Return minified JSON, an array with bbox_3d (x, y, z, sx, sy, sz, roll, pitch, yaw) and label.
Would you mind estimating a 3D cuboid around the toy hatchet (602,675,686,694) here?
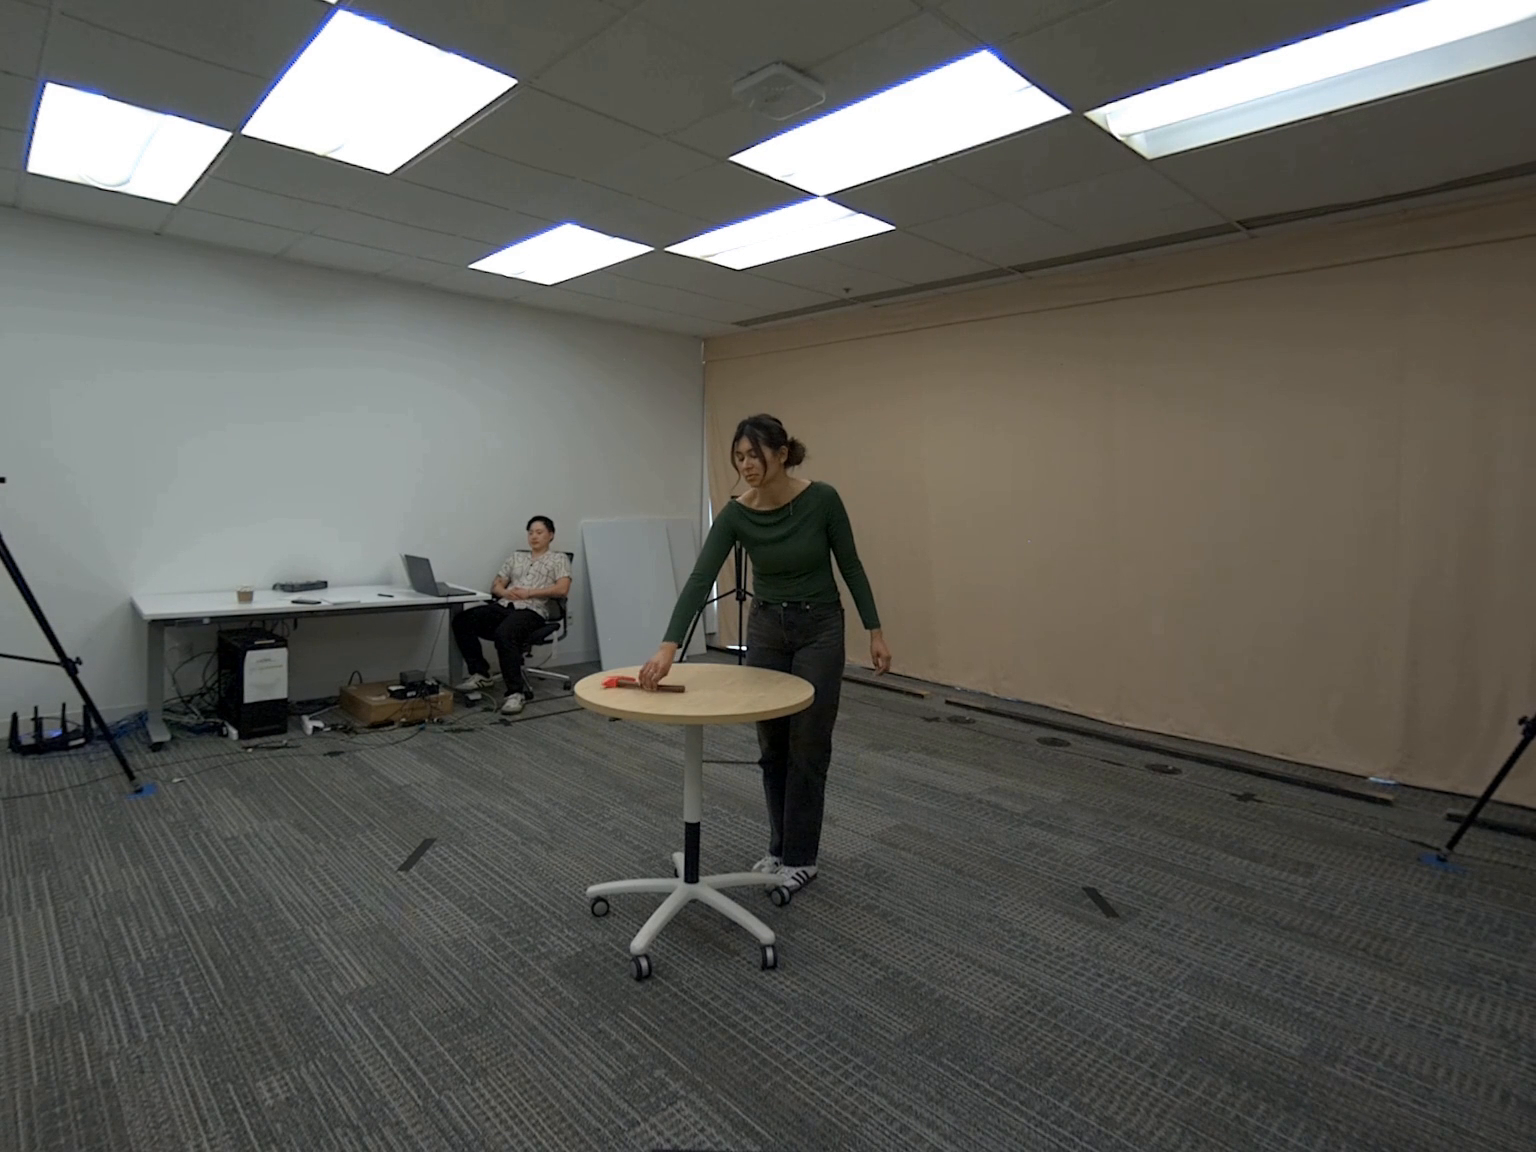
[{"bbox_3d":[-0.384,0.346,2.666,0.271,0.029,0.130,3,2,6],"label":"toy hatchet"}]
